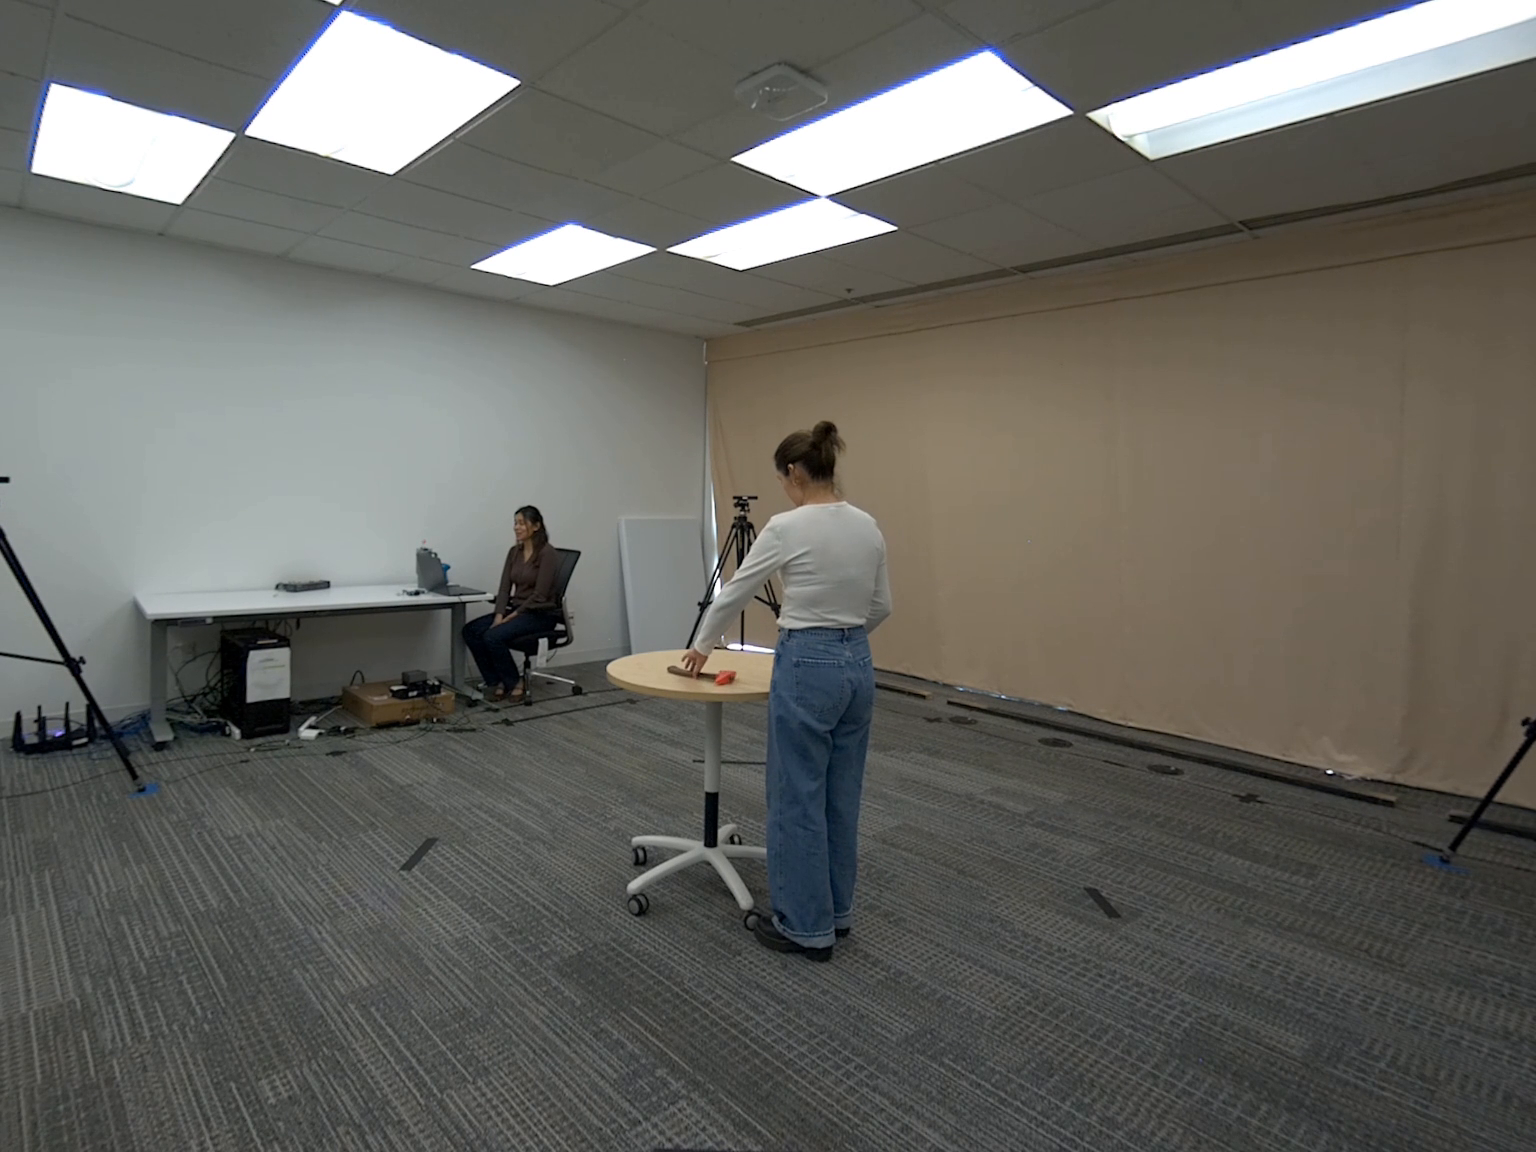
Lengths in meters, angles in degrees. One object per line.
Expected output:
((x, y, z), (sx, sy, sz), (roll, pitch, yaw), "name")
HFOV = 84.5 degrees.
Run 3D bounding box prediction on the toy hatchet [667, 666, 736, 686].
((-0.222, 0.326, 2.846), (0.128, 0.029, 0.277), (-9, 11, -43), "toy hatchet")
